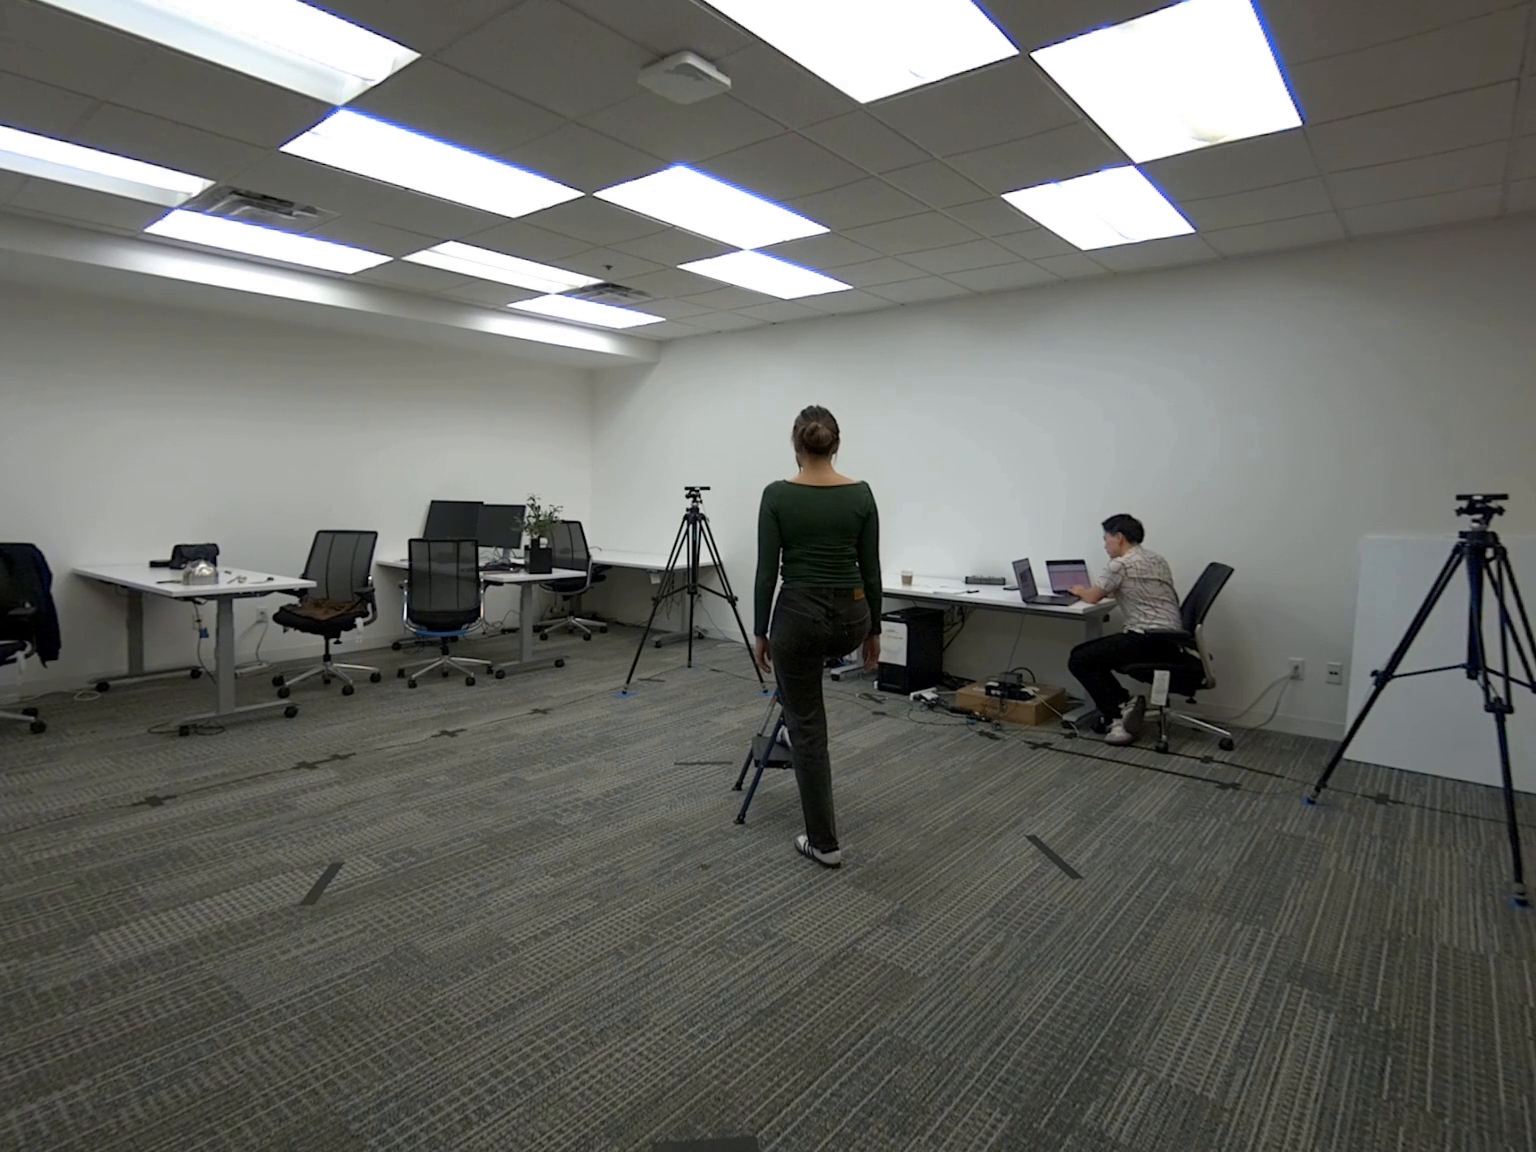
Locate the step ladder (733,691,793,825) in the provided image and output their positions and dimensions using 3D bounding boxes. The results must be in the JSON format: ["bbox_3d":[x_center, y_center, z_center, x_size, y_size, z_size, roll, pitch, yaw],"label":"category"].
[{"bbox_3d":[0.016,0.711,3.722,0.349,0.604,0.433,0,3,-3],"label":"step ladder"}]
